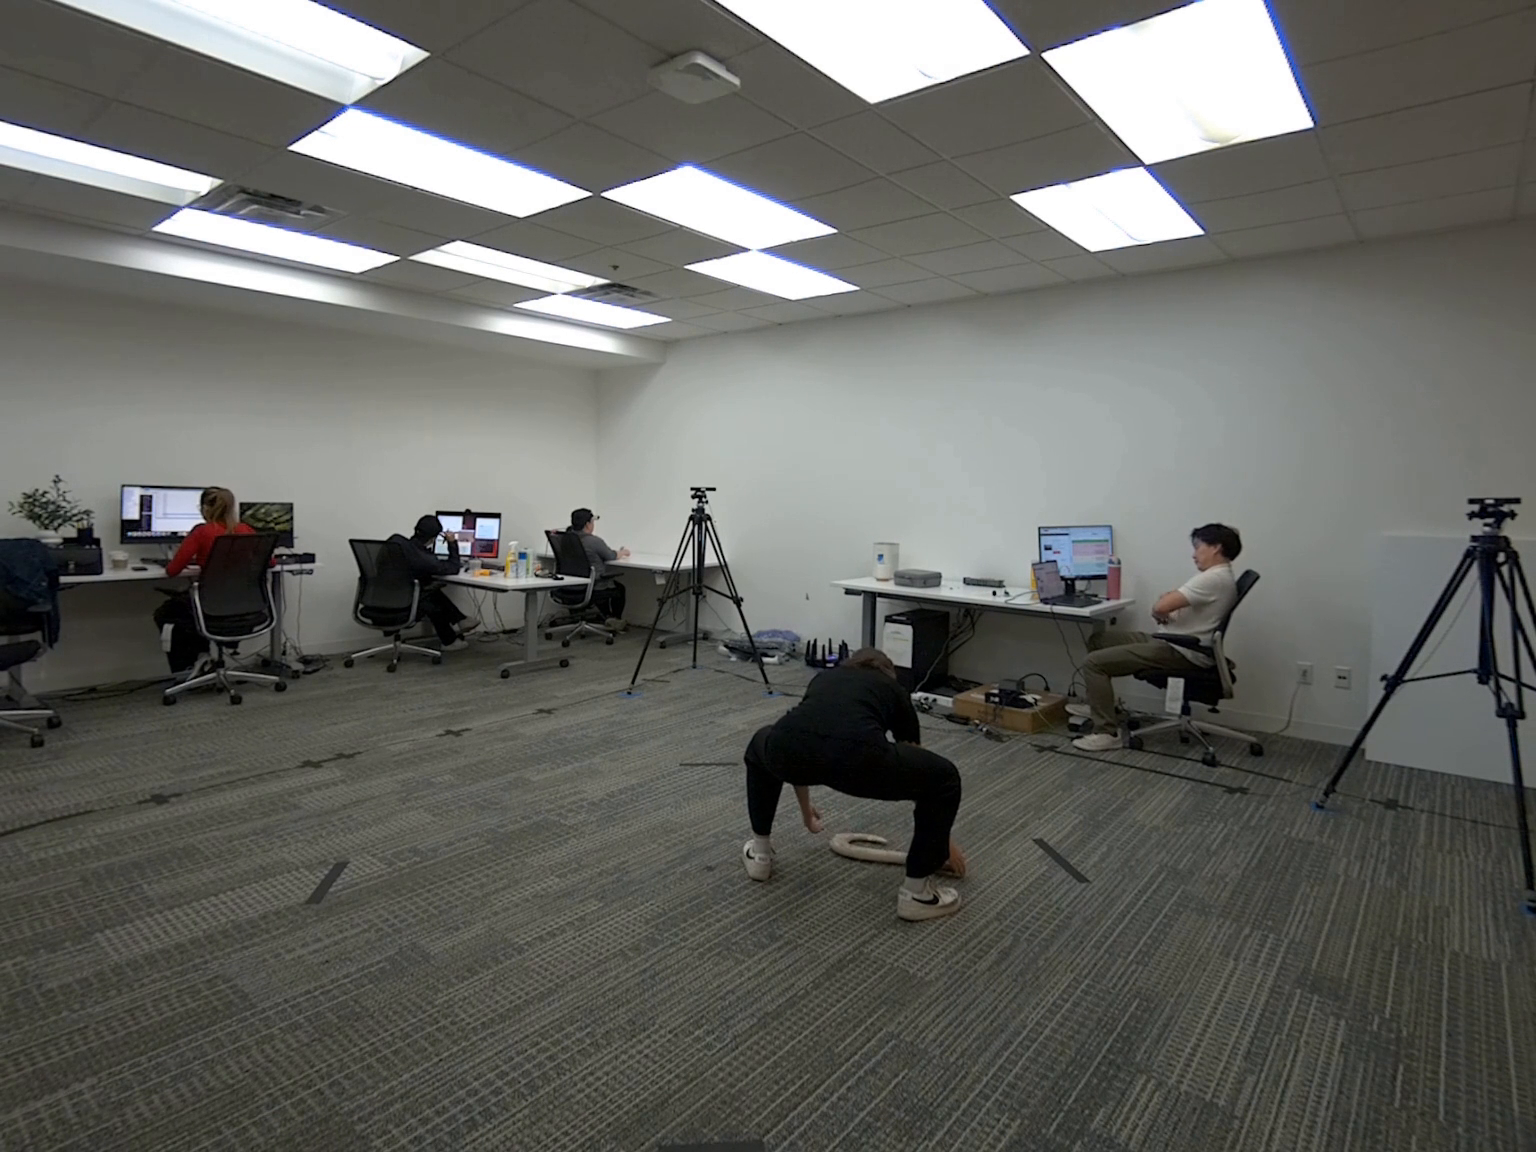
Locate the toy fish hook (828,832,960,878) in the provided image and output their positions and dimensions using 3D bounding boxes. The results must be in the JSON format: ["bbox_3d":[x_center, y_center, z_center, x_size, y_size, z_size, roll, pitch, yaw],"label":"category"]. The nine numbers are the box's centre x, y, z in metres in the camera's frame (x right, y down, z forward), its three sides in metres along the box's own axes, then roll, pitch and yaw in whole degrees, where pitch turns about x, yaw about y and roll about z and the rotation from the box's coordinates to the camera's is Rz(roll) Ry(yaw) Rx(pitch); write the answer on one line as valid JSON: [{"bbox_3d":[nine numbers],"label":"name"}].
[{"bbox_3d":[0.477,1.047,3.246,0.520,0.048,0.220,4,9,24],"label":"toy fish hook"}]
